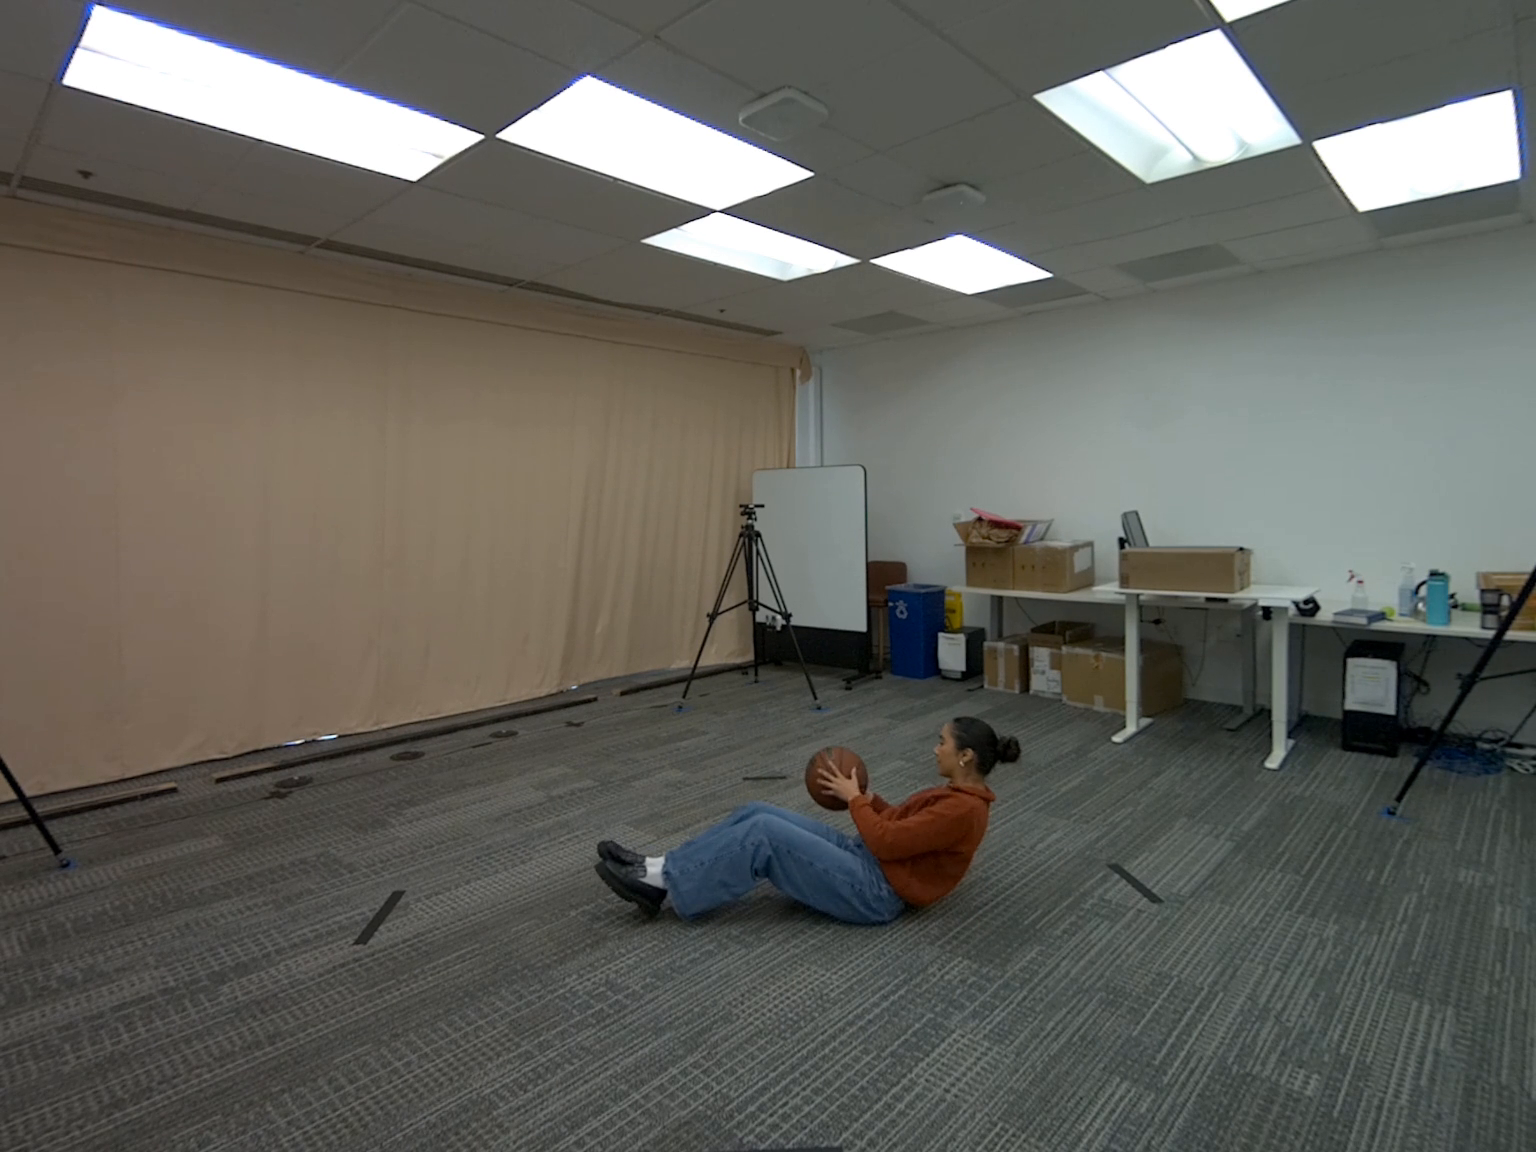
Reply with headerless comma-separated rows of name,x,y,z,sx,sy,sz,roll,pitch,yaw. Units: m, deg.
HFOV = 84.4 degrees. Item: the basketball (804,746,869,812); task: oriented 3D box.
basketball,0.261,0.767,3.149,0.236,0.235,0.237,-1,4,-2
